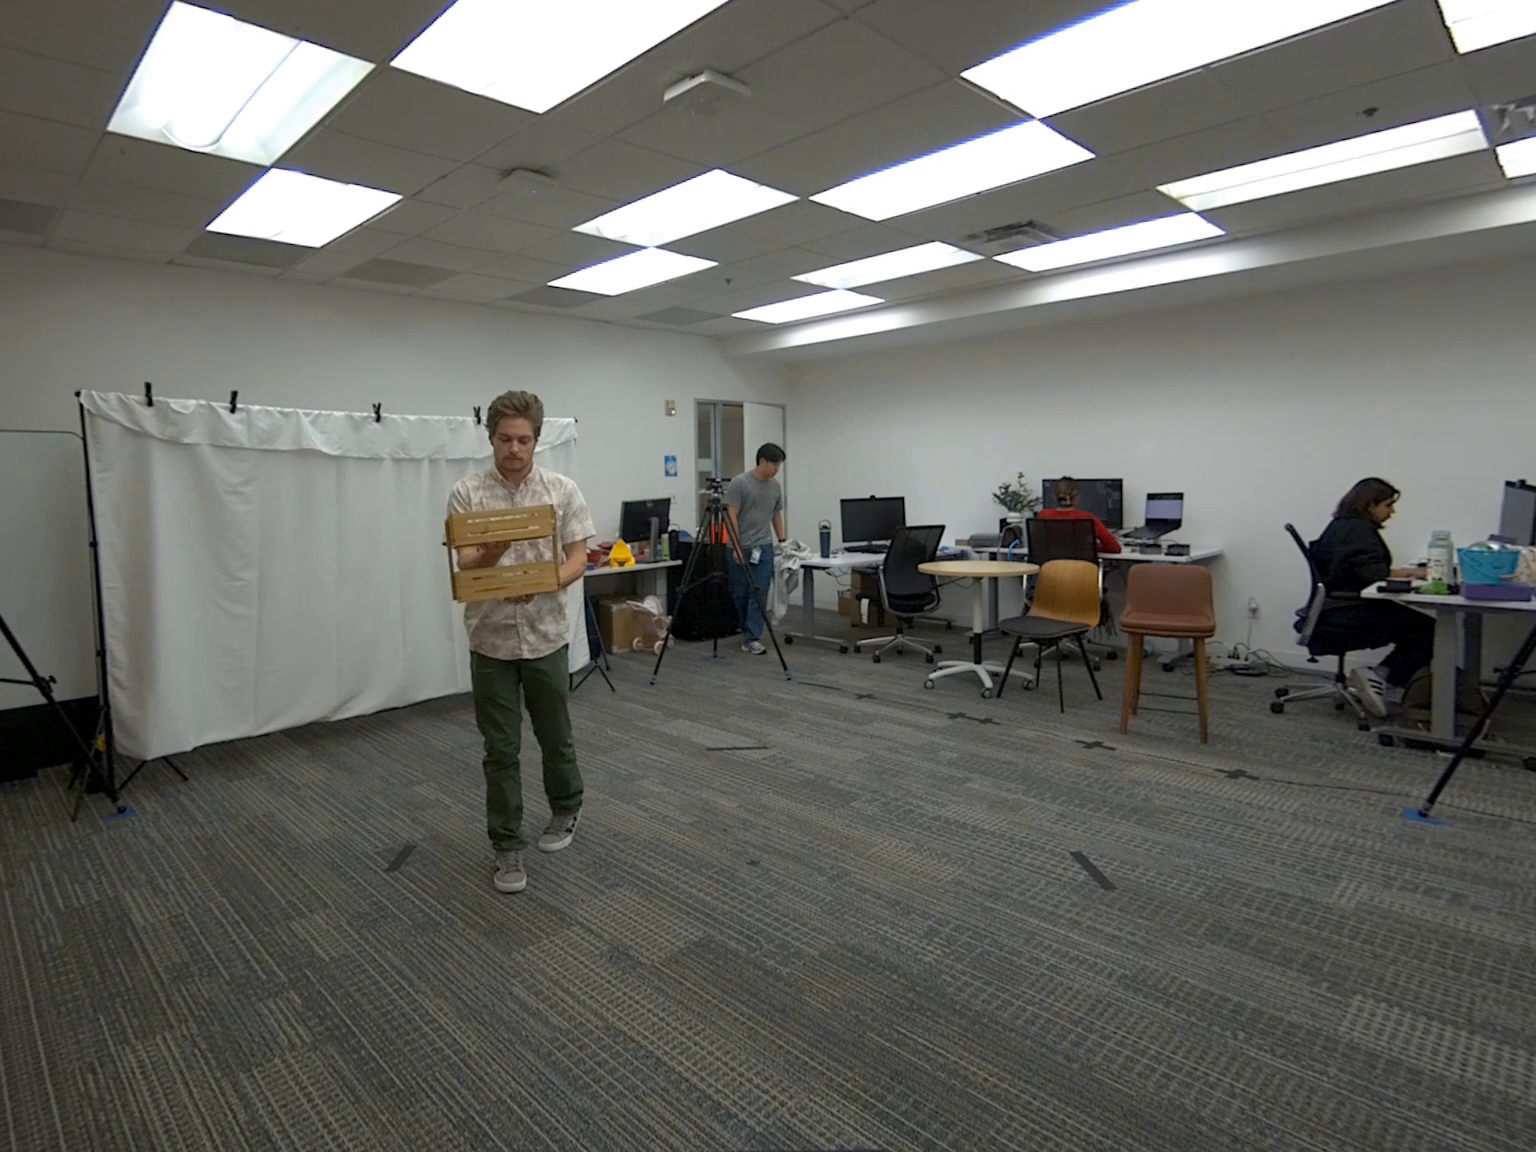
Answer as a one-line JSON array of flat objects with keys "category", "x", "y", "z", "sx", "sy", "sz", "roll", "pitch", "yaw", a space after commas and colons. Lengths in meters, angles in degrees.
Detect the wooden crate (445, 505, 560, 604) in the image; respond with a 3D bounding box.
[{"category": "wooden crate", "x": -0.833, "y": -0.076, "z": 2.650, "sx": 0.319, "sy": 0.272, "sz": 0.308, "roll": -7, "pitch": 4, "yaw": -20}]
